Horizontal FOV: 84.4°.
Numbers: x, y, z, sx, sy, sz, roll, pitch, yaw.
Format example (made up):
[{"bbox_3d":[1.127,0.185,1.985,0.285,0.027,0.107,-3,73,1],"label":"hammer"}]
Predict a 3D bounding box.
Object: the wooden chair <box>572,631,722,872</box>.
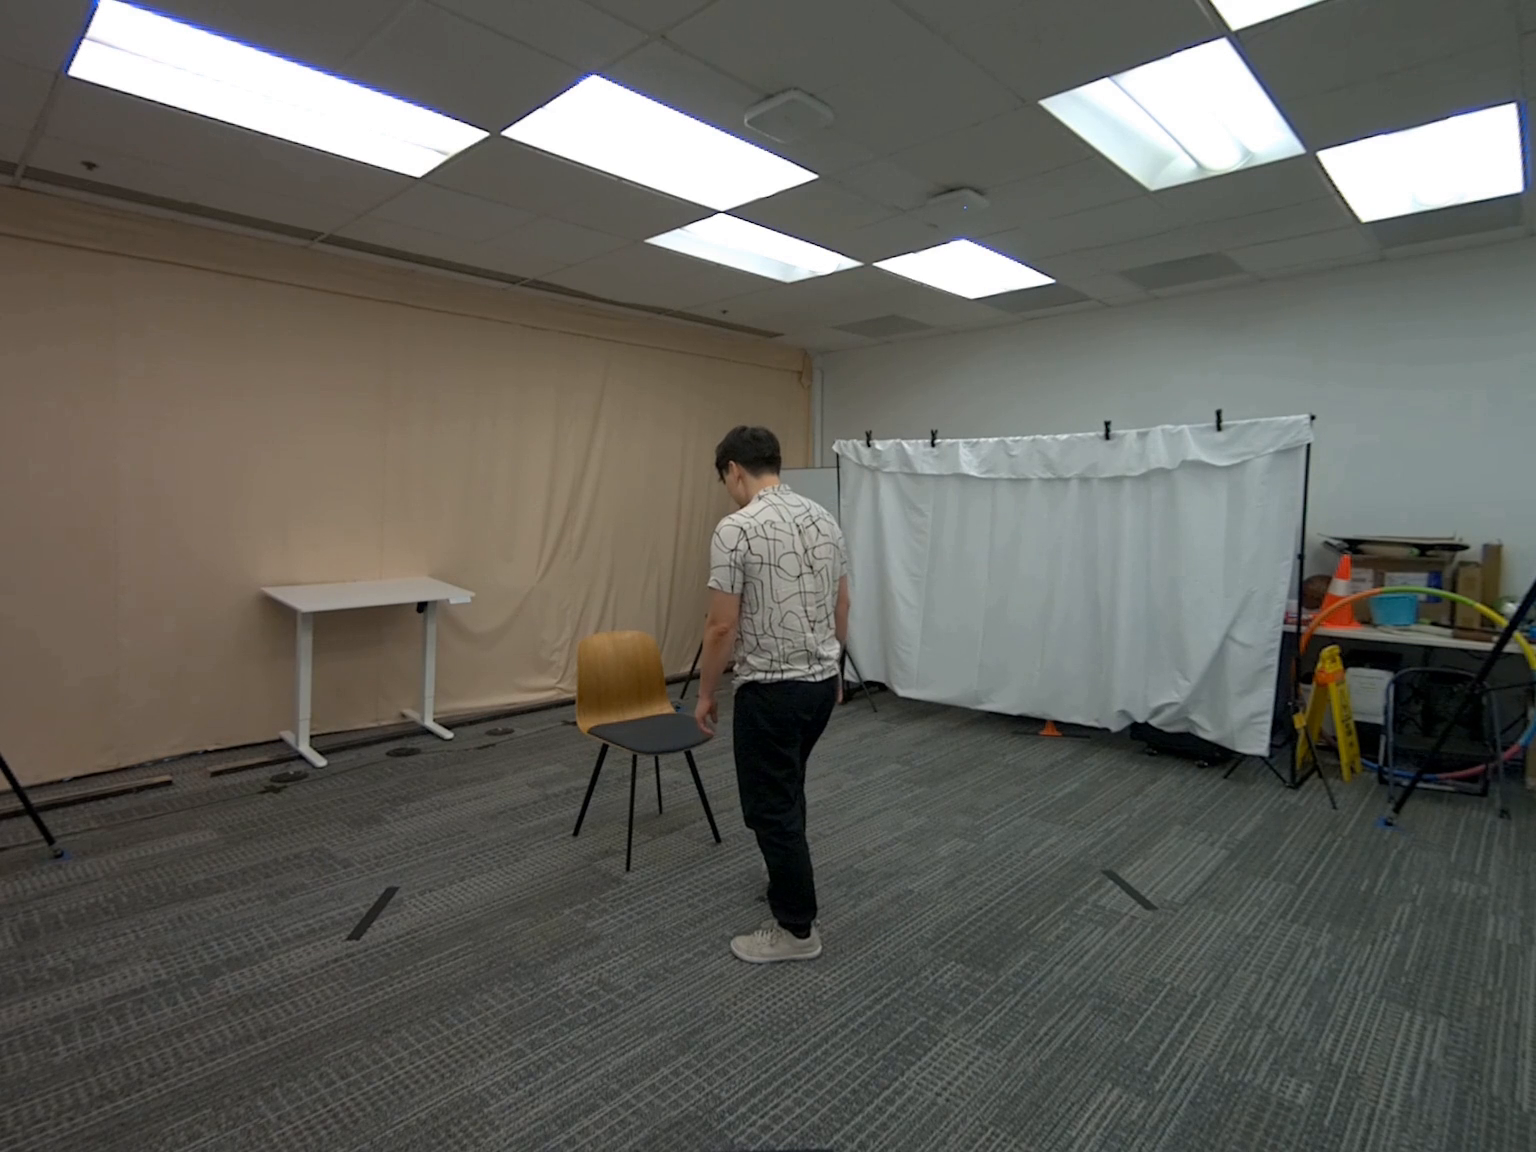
[{"bbox_3d":[-0.507,0.678,3.491,0.464,0.878,0.539,-3,-1,-39],"label":"wooden chair"}]
